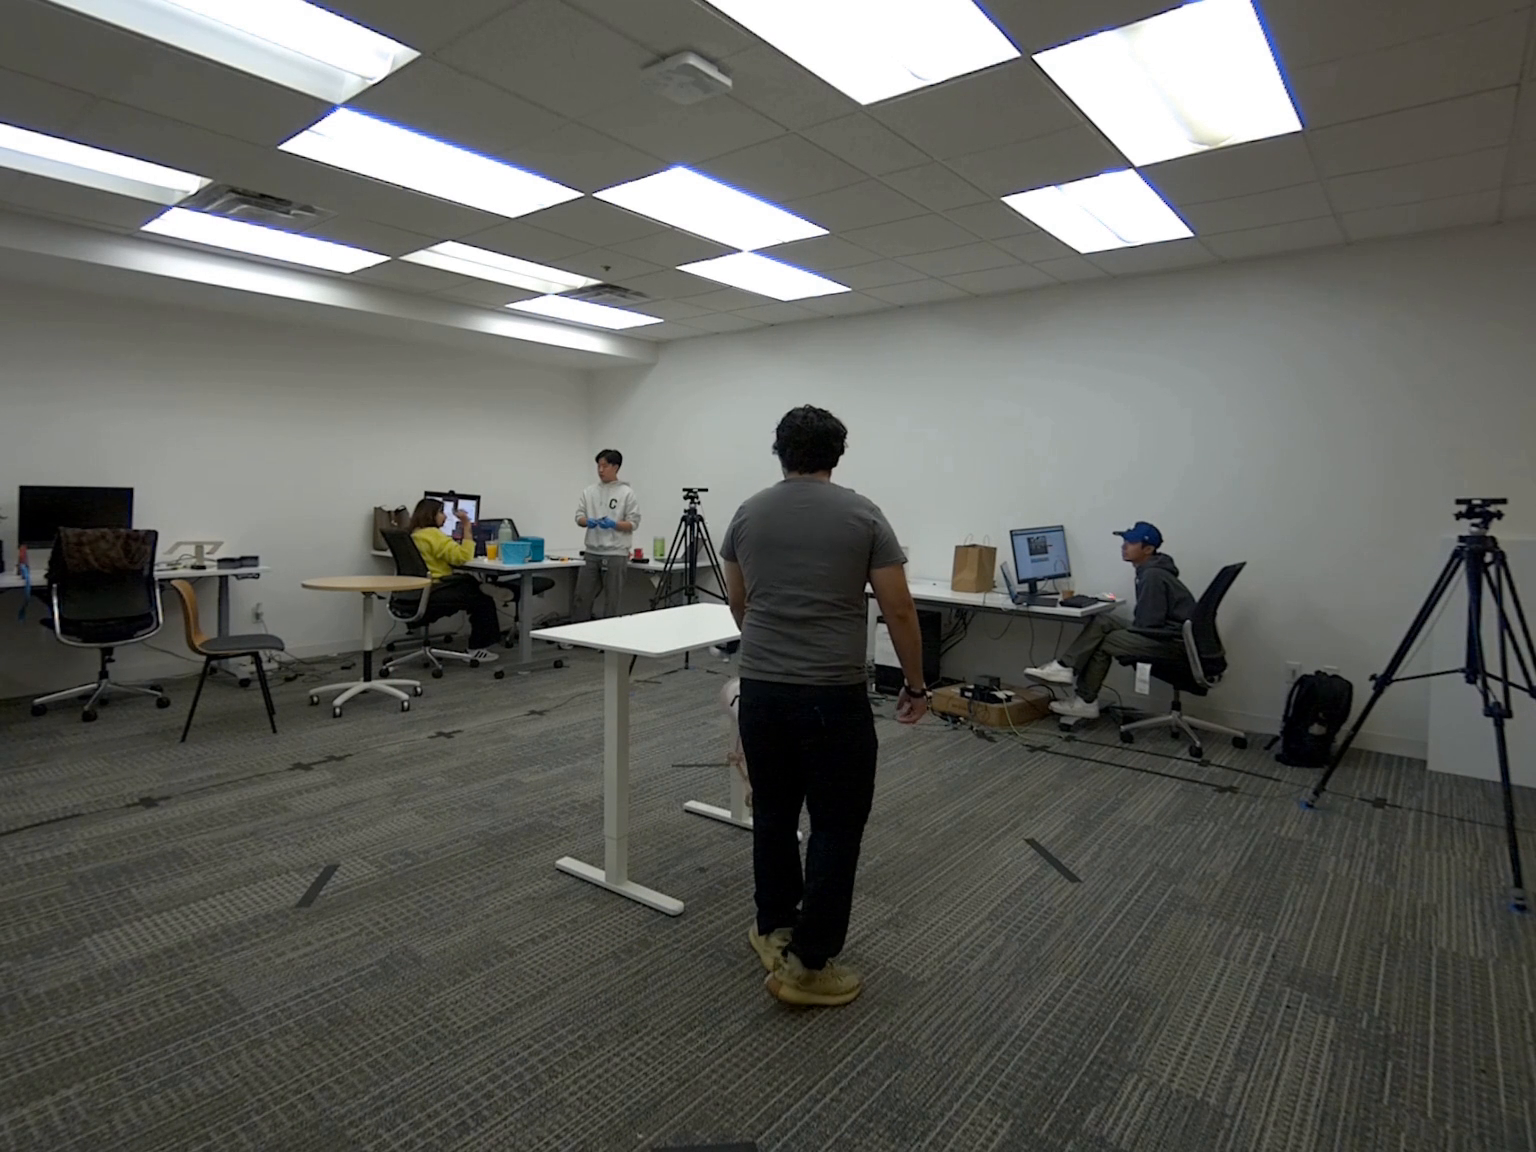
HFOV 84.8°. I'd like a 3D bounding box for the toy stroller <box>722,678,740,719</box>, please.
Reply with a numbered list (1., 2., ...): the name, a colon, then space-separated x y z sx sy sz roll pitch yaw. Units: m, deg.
1. toy stroller: -0.006 0.561 2.867 0.274 0.541 0.346 -12 -12 -45
